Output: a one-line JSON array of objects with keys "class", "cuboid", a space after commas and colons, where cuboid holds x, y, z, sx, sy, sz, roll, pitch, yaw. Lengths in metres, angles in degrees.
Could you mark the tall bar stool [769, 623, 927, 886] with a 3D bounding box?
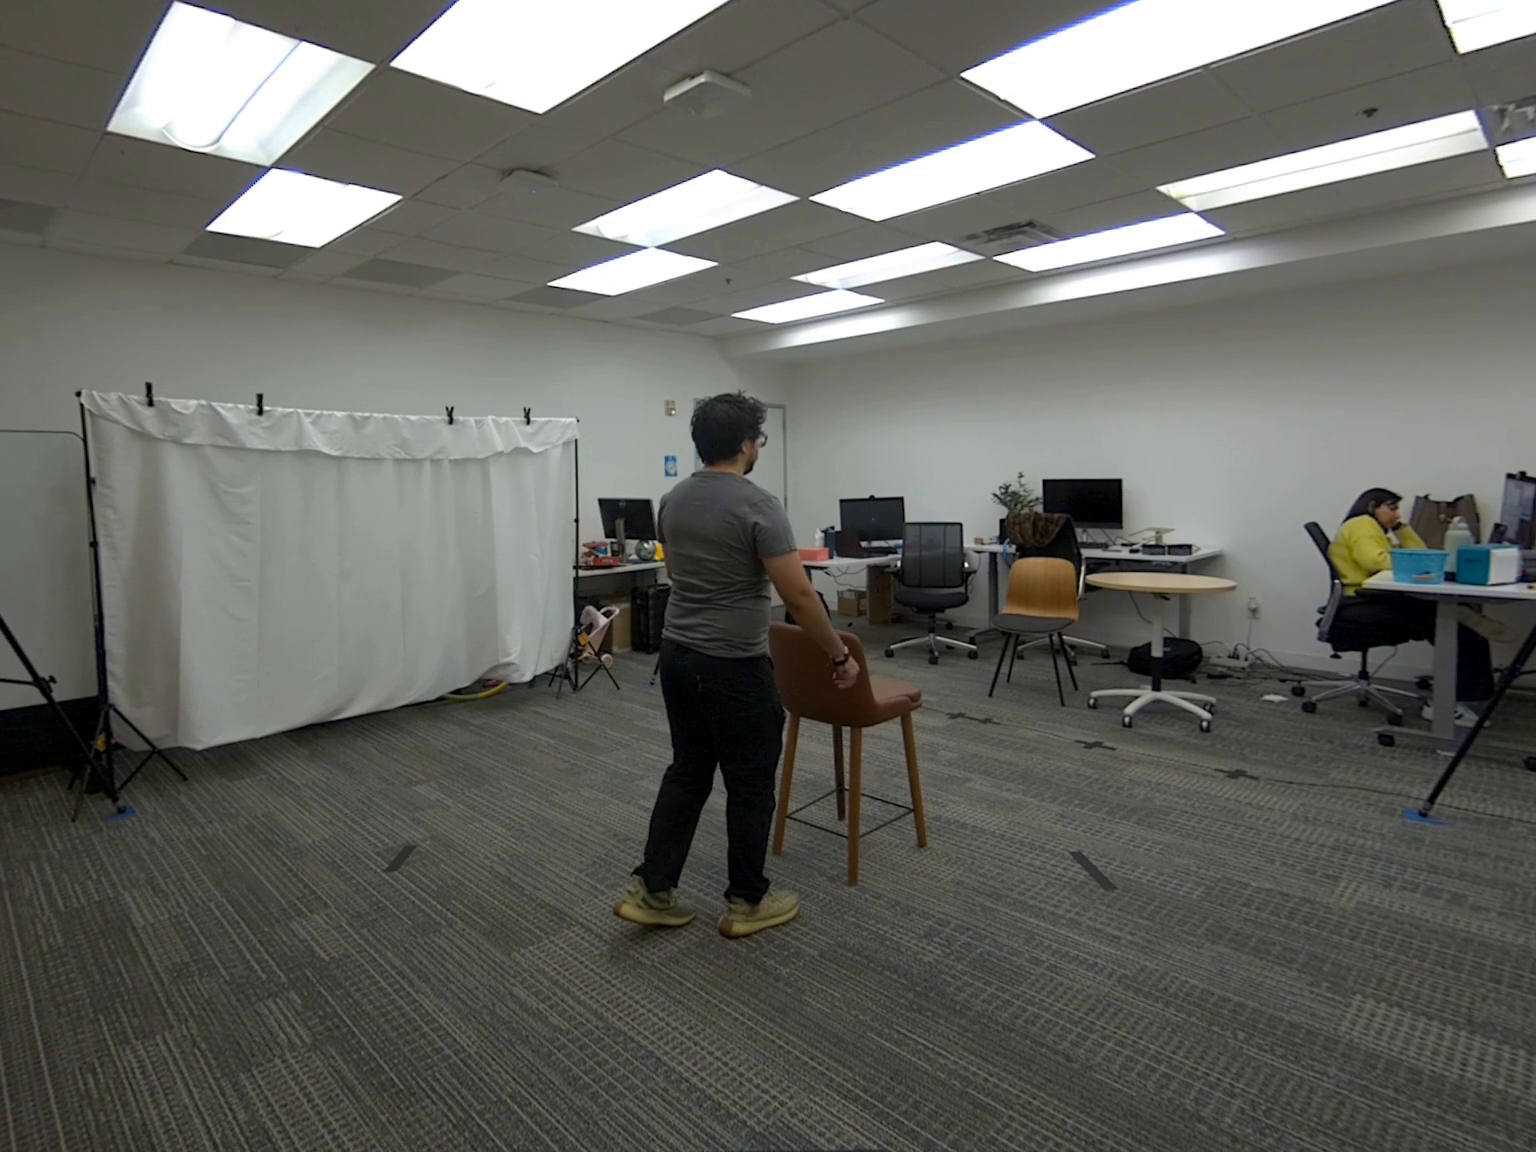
[{"class": "tall bar stool", "cuboid": [0.290, 0.592, 3.174, 0.470, 0.885, 0.456, 3, 8, 44]}]
